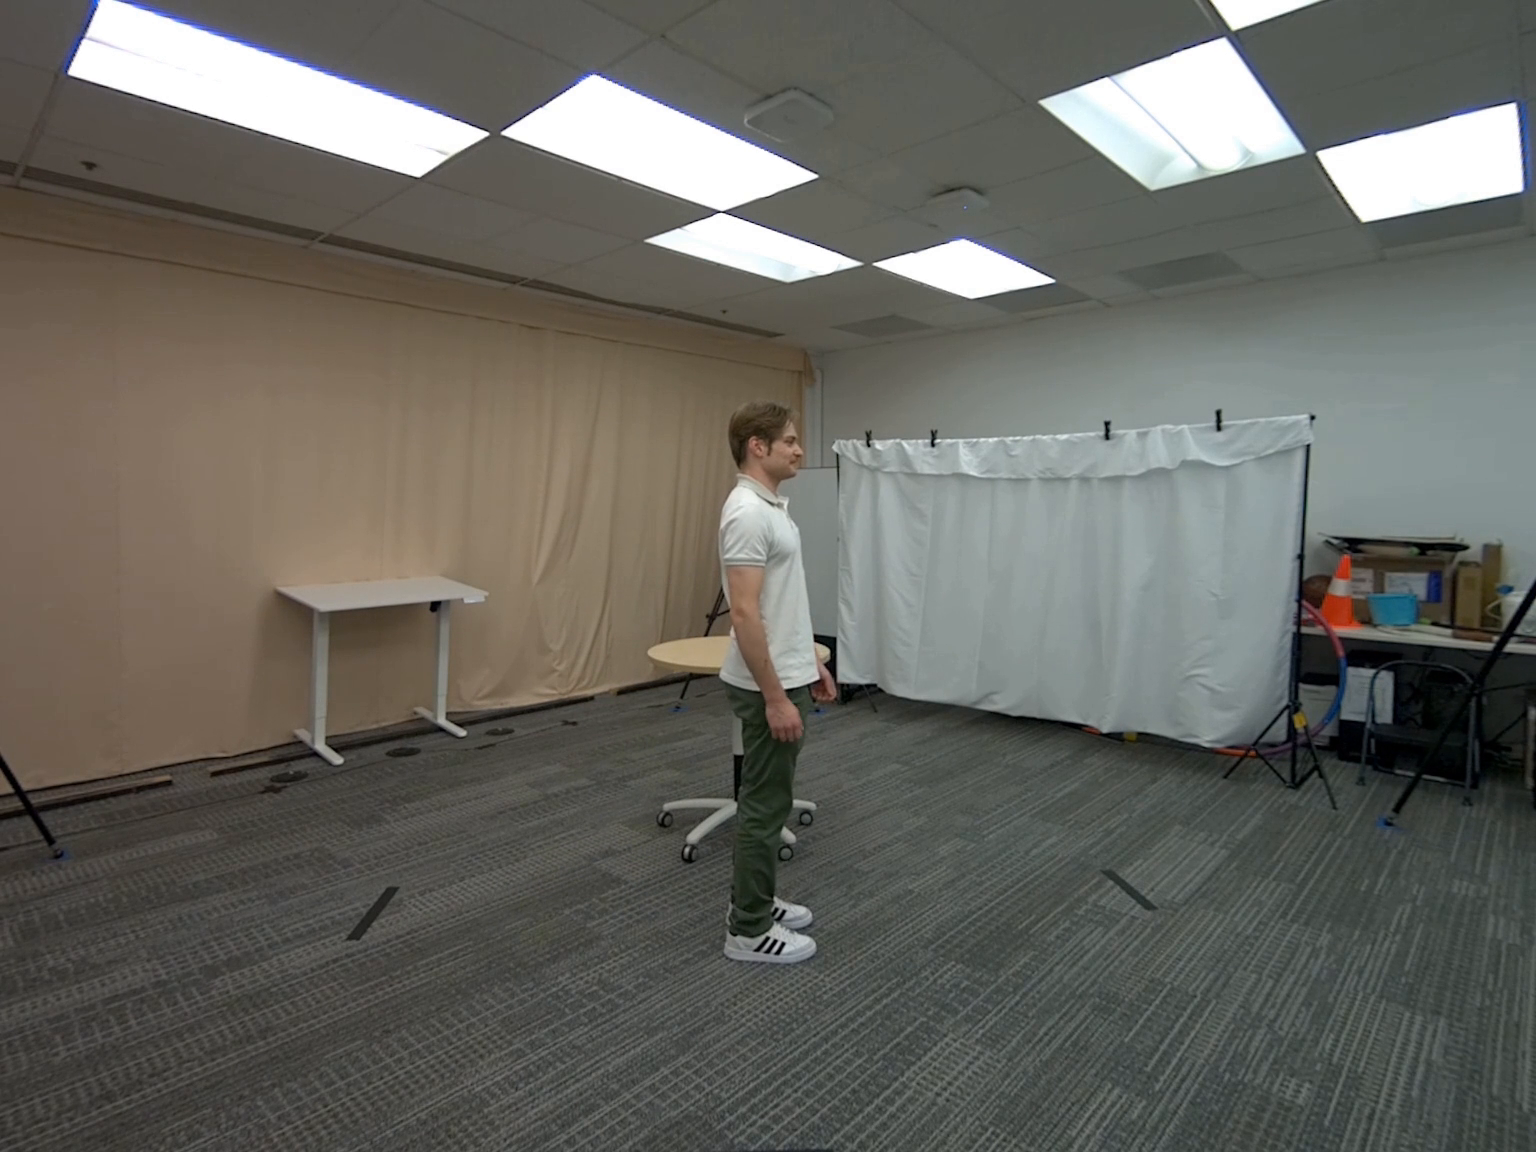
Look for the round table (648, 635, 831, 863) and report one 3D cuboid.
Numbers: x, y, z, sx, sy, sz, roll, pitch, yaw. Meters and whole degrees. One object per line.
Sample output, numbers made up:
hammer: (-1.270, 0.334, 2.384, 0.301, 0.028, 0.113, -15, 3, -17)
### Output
round table: (-0.117, 0.706, 3.561, 0.763, 0.792, 0.766, -1, 3, -2)
